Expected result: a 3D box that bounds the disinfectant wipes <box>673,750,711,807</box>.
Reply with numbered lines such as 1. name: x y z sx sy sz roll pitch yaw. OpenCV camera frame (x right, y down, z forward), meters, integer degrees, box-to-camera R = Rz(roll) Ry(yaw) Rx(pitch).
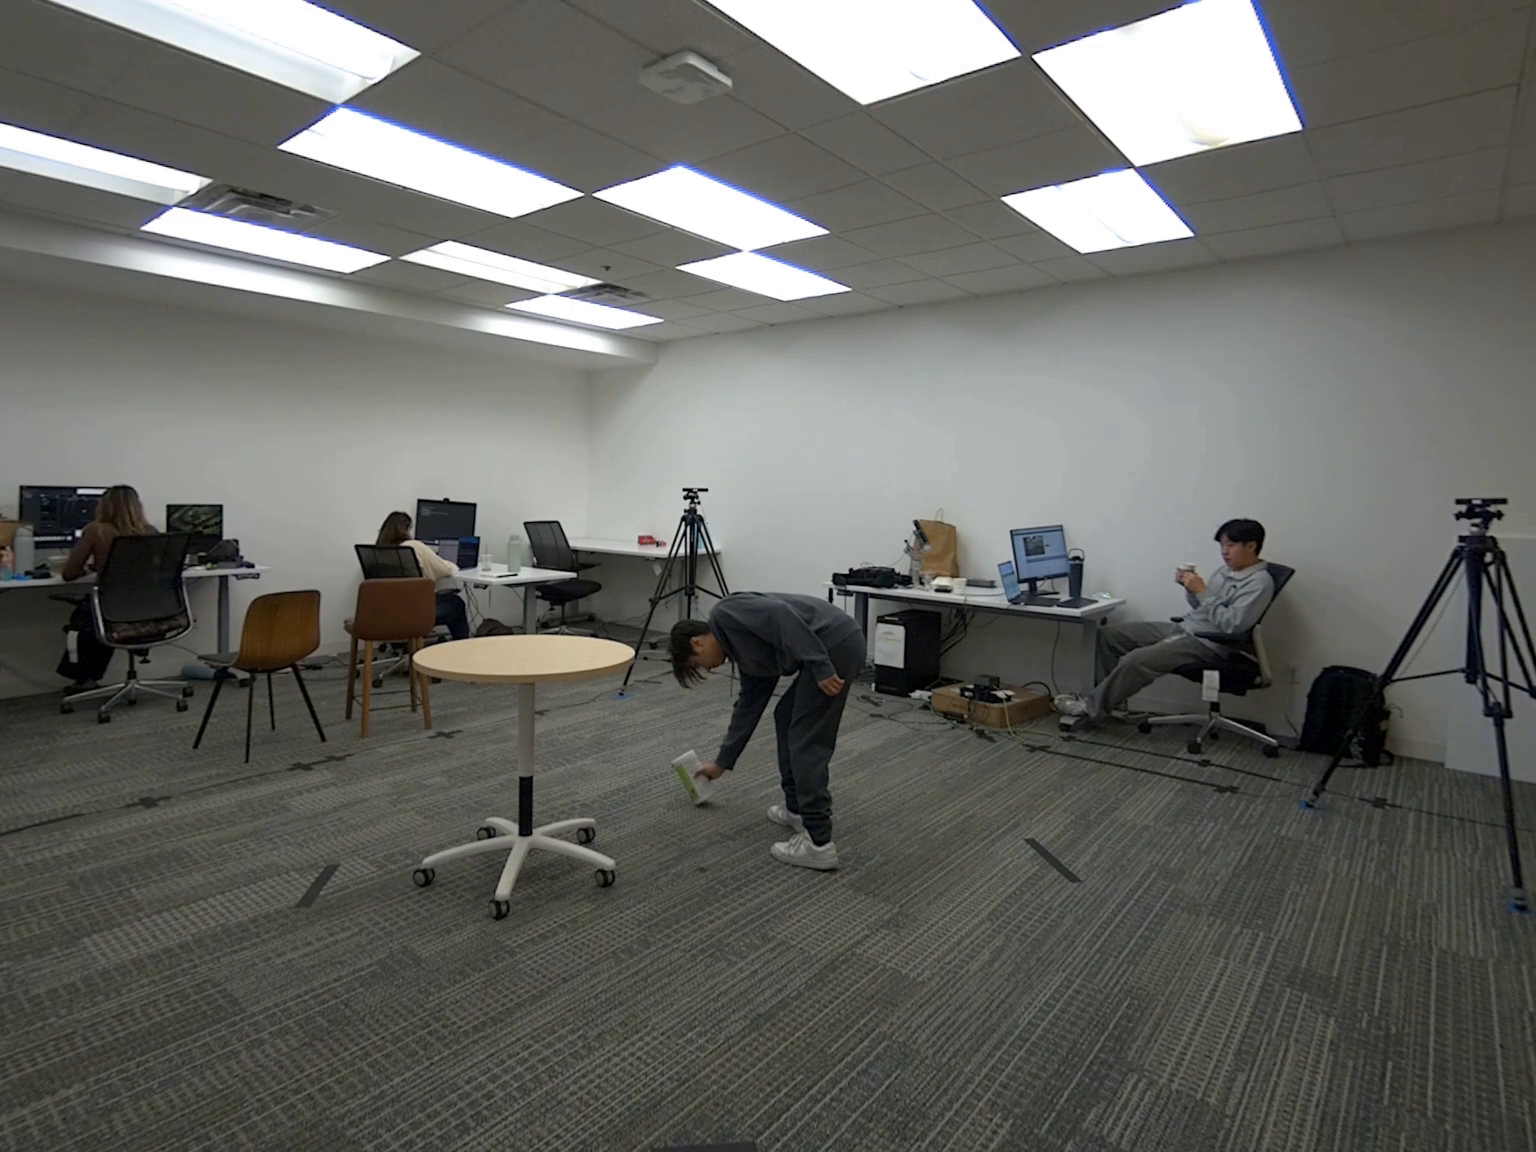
1. disinfectant wipes: -0.342 0.888 3.774 0.117 0.220 0.116 -28 -9 -6
